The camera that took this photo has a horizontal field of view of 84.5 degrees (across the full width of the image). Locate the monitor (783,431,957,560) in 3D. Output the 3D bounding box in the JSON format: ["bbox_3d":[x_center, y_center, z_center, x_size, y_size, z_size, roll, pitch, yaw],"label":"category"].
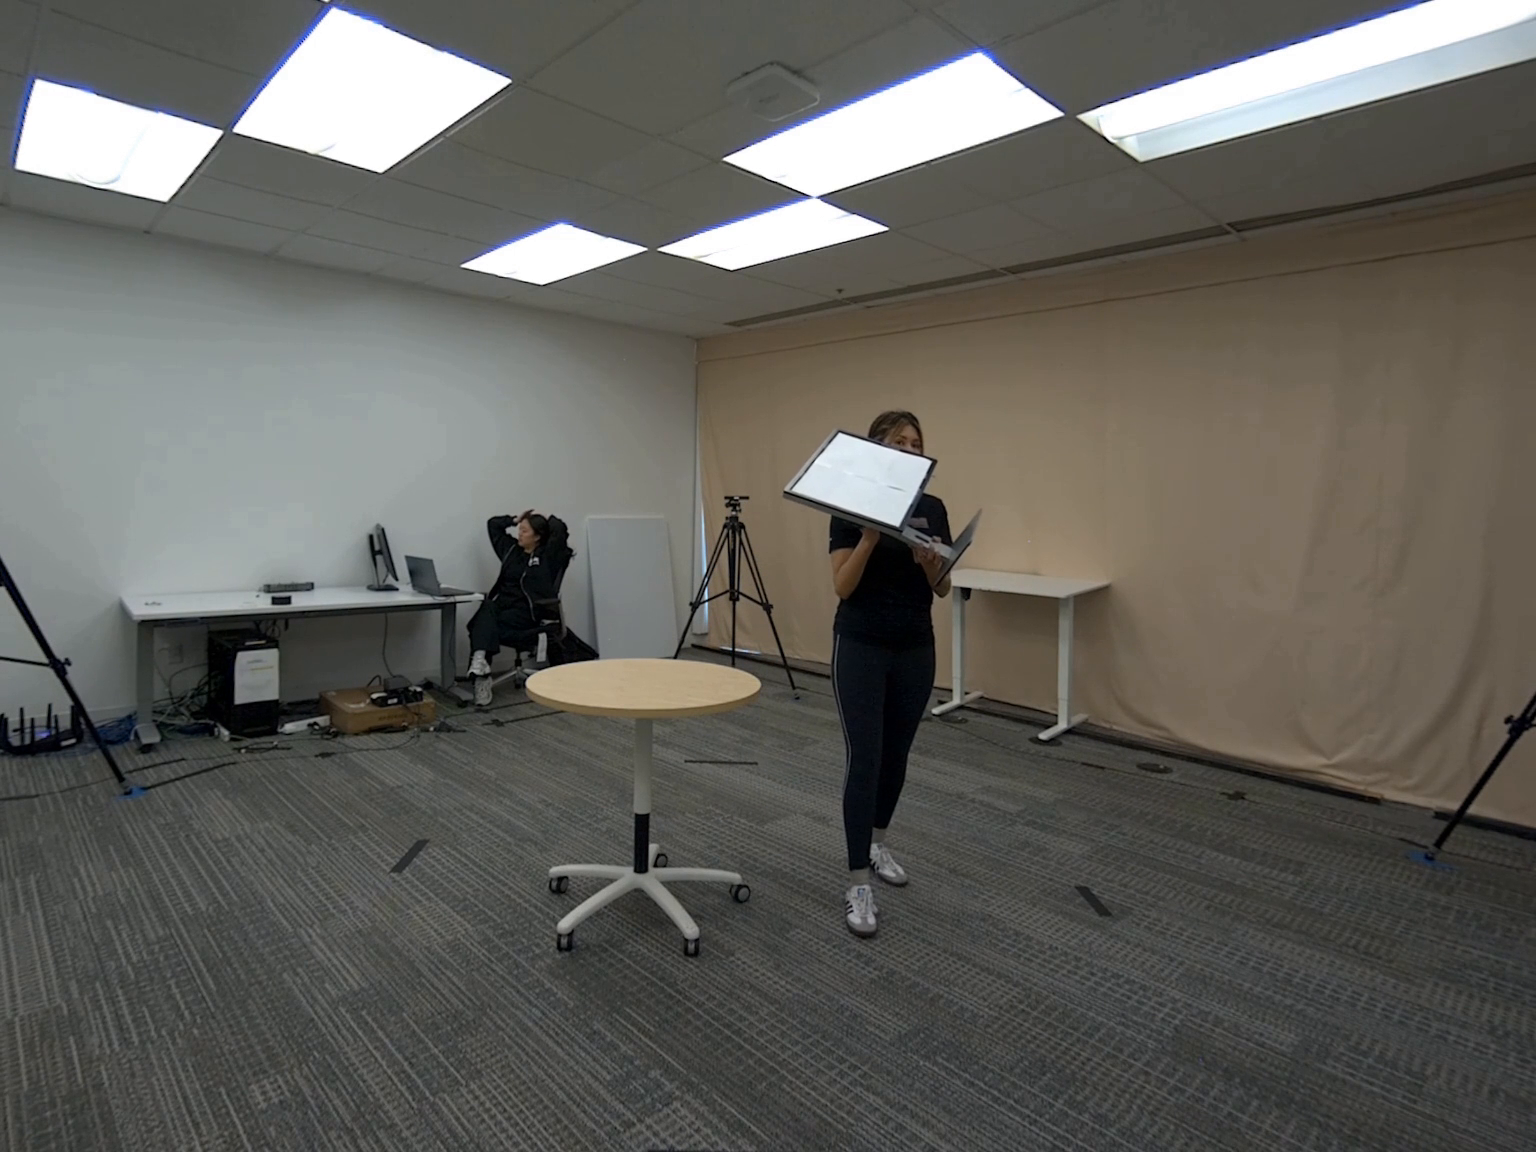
[{"bbox_3d":[0.360,-0.230,2.626,0.527,0.185,0.539,32,33,7],"label":"monitor"}]
